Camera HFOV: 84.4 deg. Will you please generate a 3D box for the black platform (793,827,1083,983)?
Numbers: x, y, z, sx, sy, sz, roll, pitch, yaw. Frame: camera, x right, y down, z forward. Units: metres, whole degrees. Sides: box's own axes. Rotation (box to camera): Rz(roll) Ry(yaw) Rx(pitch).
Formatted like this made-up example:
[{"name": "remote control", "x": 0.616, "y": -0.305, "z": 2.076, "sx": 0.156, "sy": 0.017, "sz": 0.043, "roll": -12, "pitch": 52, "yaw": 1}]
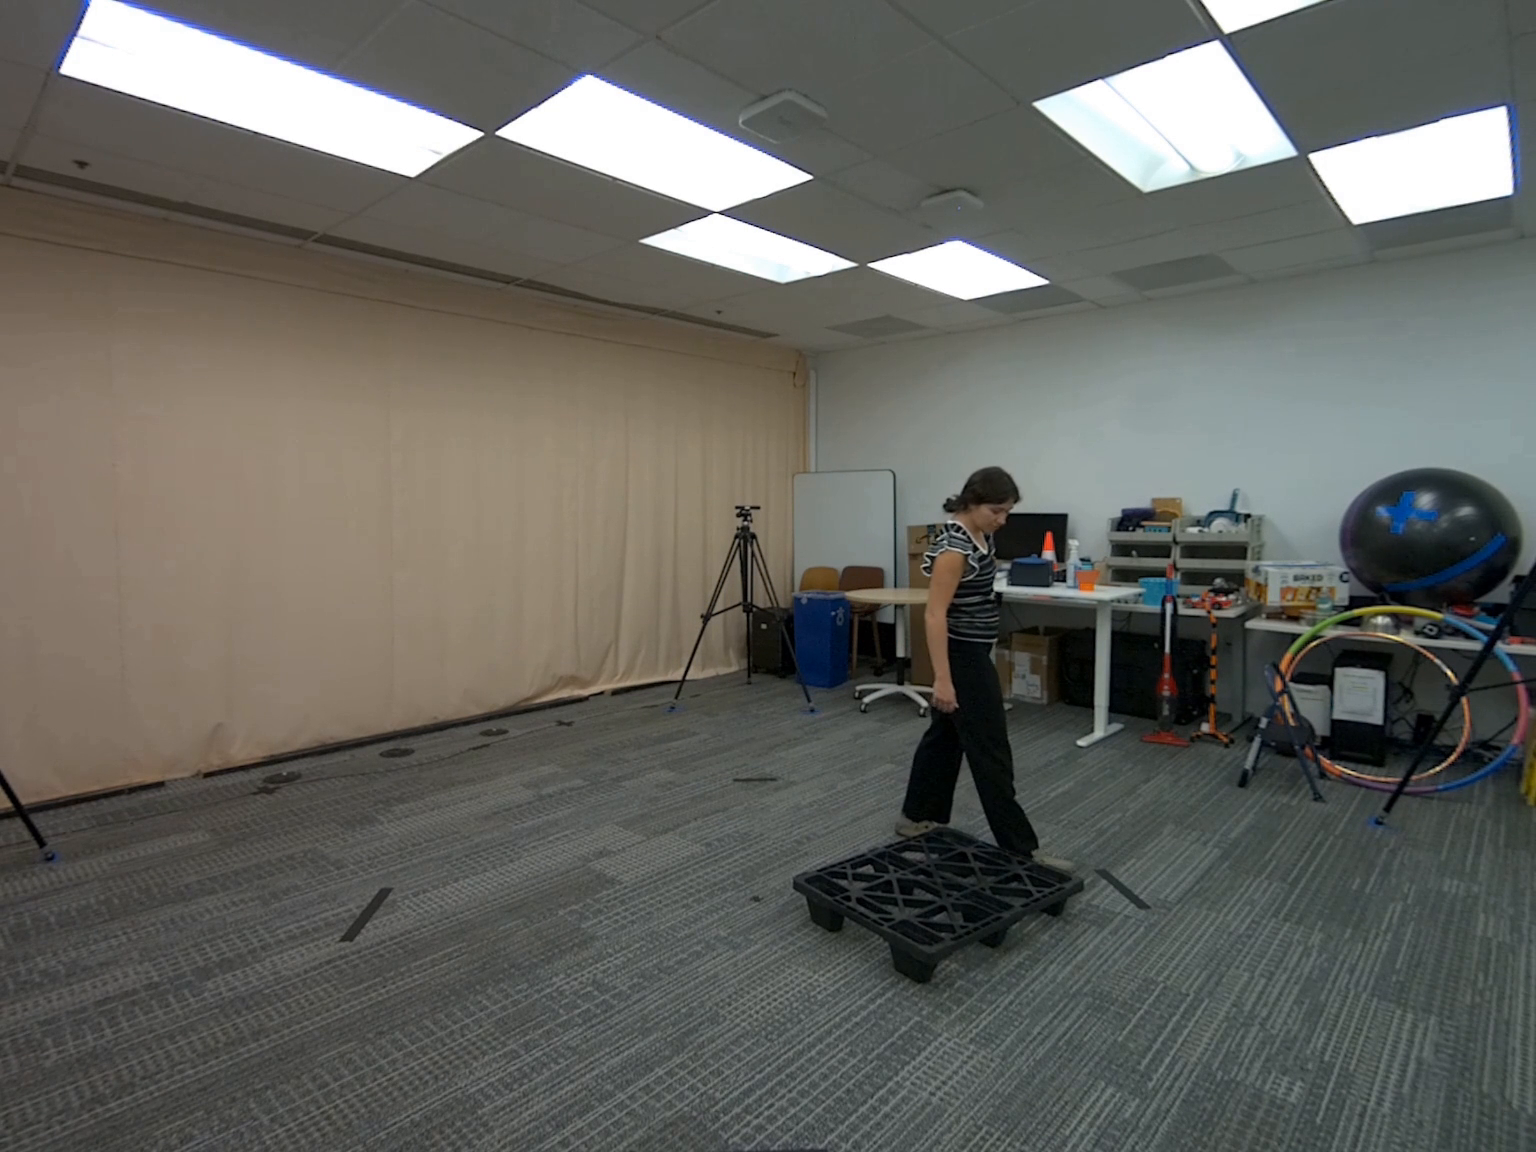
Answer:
[{"name": "black platform", "x": 0.582, "y": 1.089, "z": 2.838, "sx": 0.782, "sy": 0.143, "sz": 0.625, "roll": -4, "pitch": 7, "yaw": -38}]
